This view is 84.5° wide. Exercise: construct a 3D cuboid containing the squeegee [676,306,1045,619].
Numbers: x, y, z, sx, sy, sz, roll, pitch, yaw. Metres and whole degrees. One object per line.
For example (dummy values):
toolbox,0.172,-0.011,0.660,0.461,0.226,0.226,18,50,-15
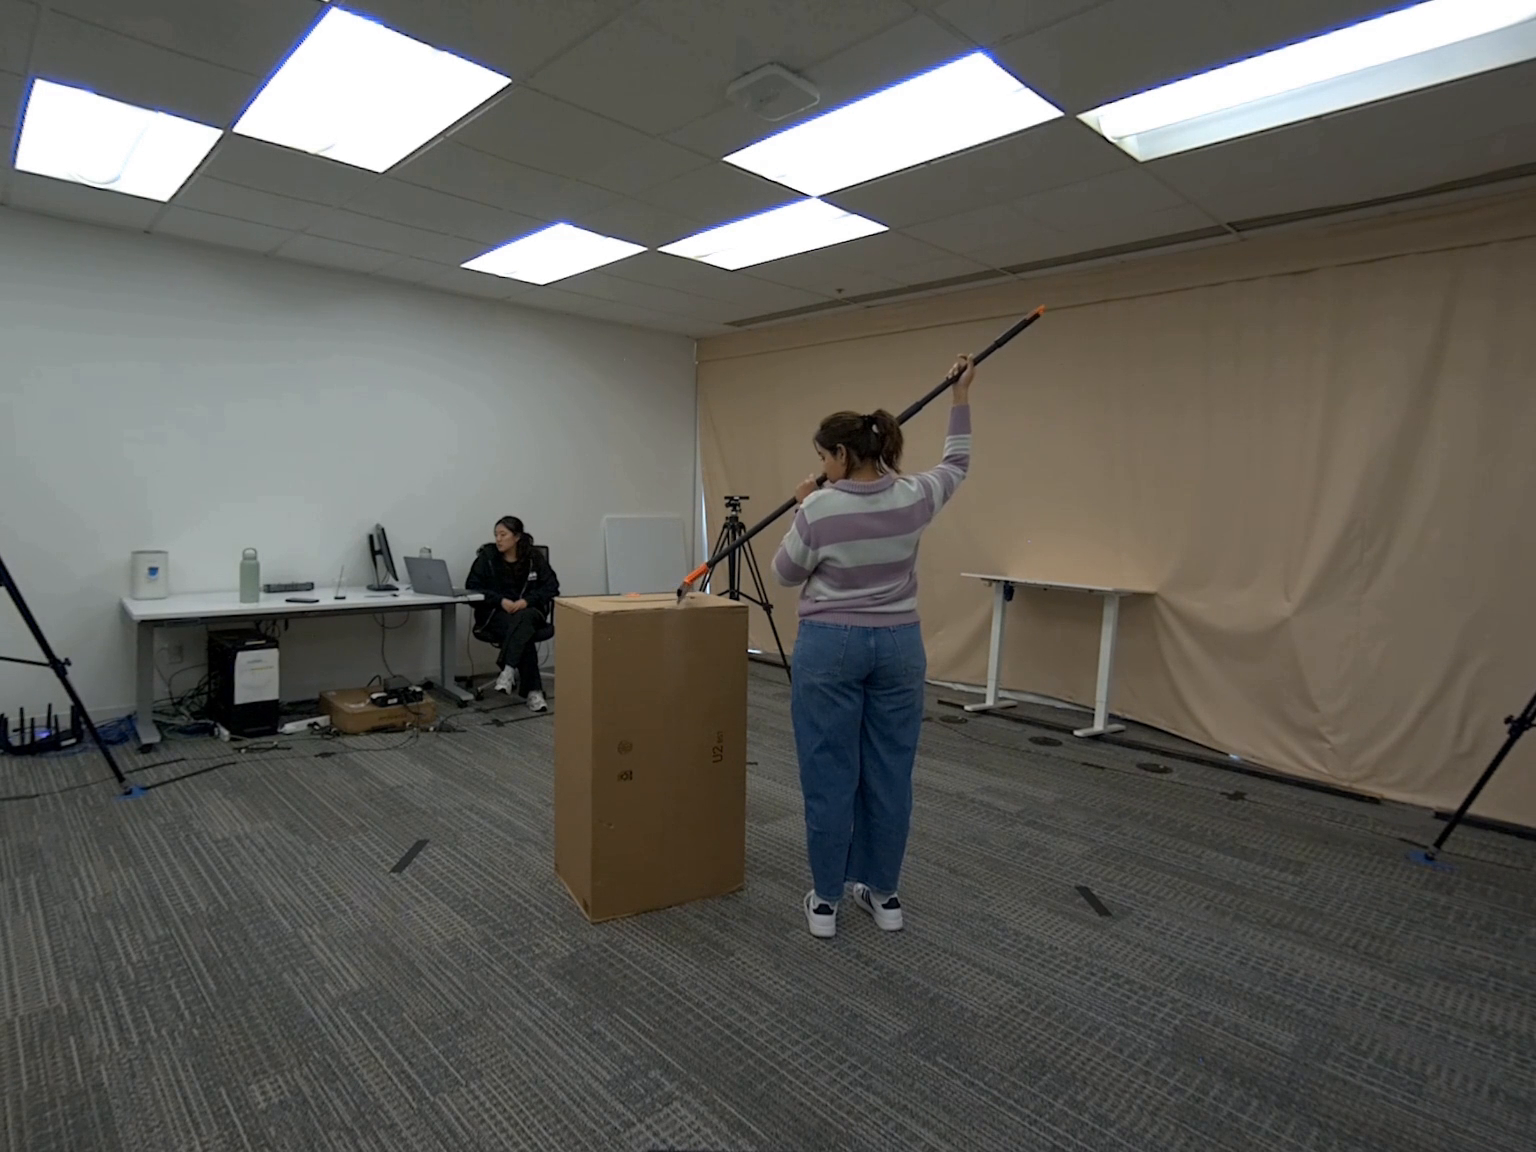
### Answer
squeegee,0.289,-0.420,2.885,1.539,0.052,0.439,-39,7,6
